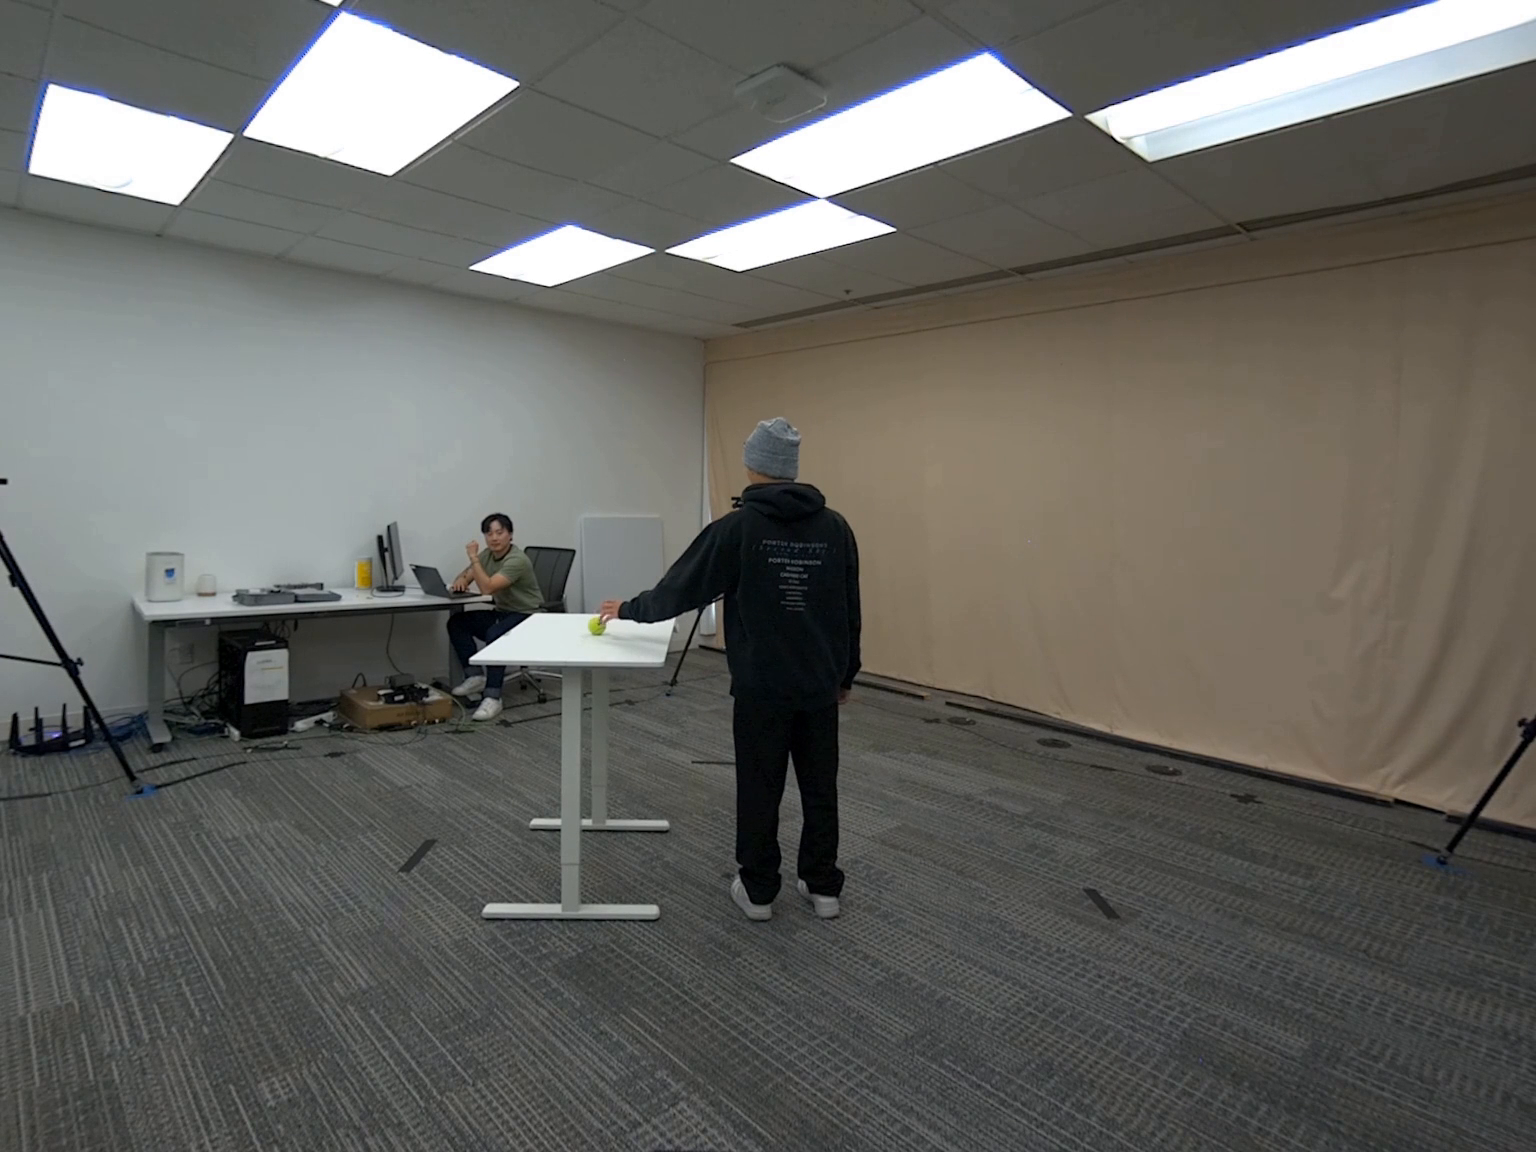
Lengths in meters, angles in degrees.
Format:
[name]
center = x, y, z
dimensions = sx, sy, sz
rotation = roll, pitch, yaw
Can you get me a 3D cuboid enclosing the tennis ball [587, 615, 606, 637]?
[tennis ball]
center = -0.620, 0.183, 3.084
dimensions = 0.066, 0.066, 0.067
rotation = 1, 4, -1
